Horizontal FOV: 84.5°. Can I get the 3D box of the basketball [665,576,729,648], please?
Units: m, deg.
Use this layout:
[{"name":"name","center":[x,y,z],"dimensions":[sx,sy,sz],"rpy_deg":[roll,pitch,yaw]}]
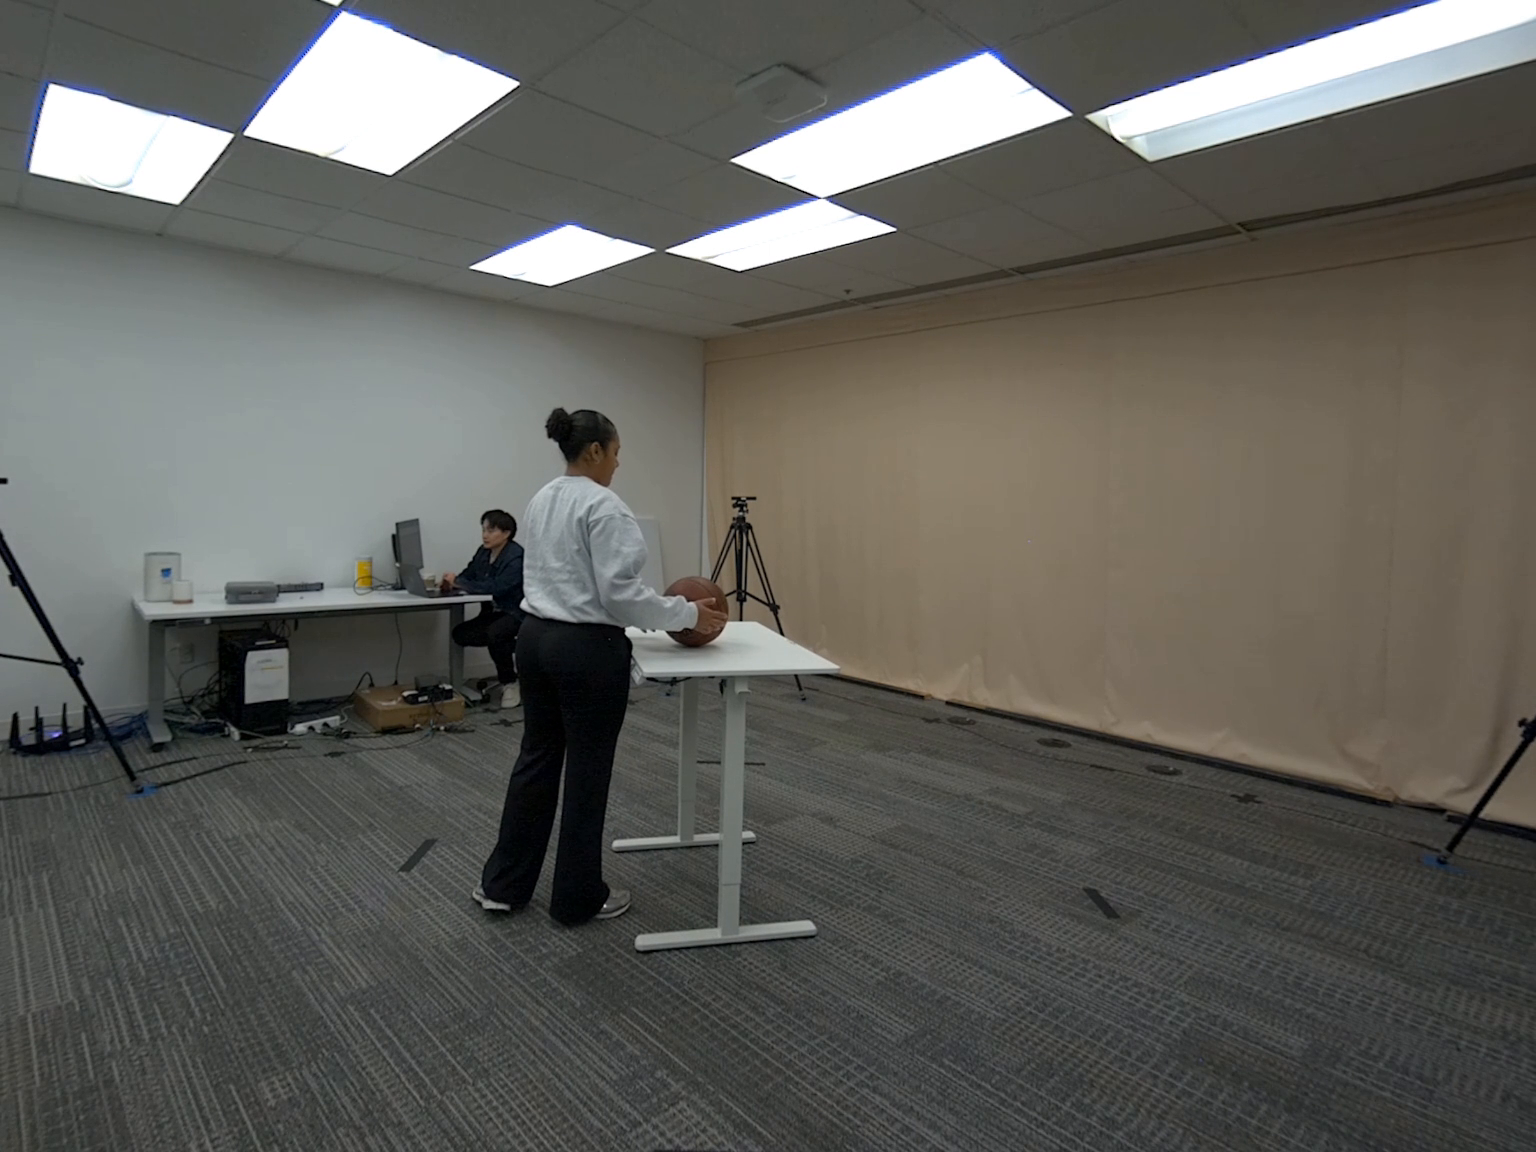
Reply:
[{"name":"basketball","center":[-0.256,0.119,2.874],"dimensions":[0.236,0.235,0.237],"rpy_deg":[1,4,-1]}]
